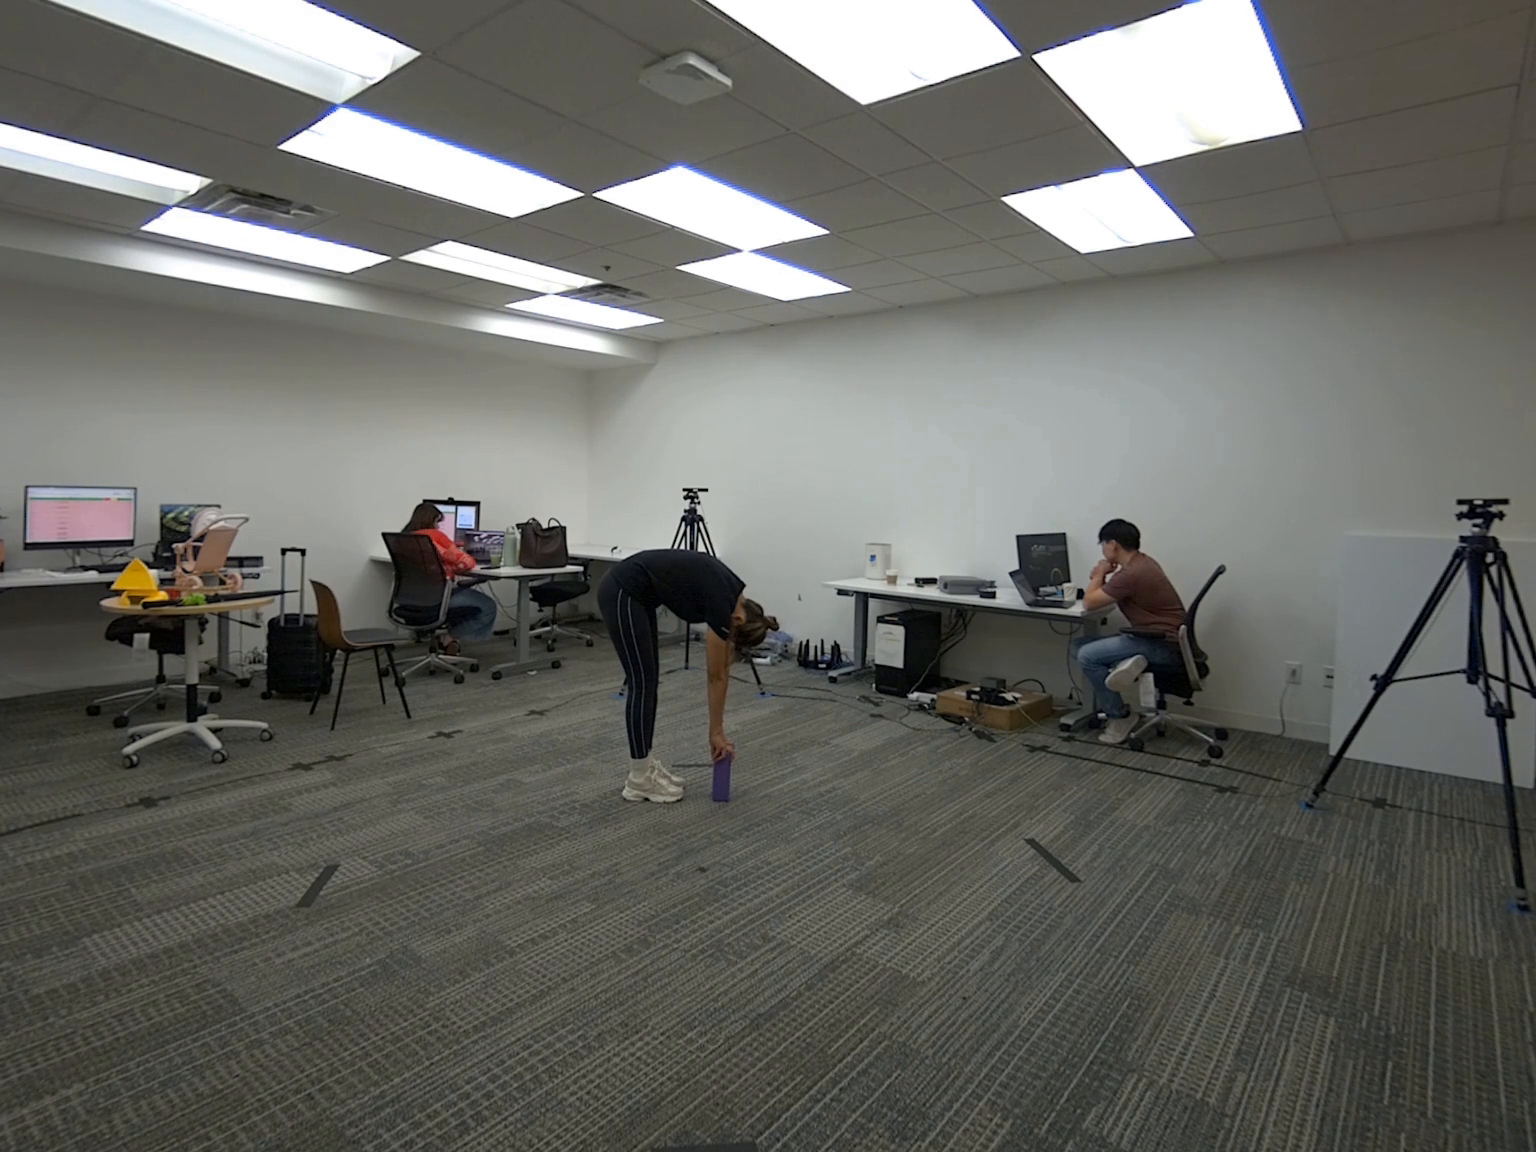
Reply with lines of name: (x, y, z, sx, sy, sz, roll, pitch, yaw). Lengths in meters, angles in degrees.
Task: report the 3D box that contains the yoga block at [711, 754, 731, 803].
yoga block: (-0.219, 0.889, 3.858, 0.076, 0.228, 0.150, 0, 5, -5)
